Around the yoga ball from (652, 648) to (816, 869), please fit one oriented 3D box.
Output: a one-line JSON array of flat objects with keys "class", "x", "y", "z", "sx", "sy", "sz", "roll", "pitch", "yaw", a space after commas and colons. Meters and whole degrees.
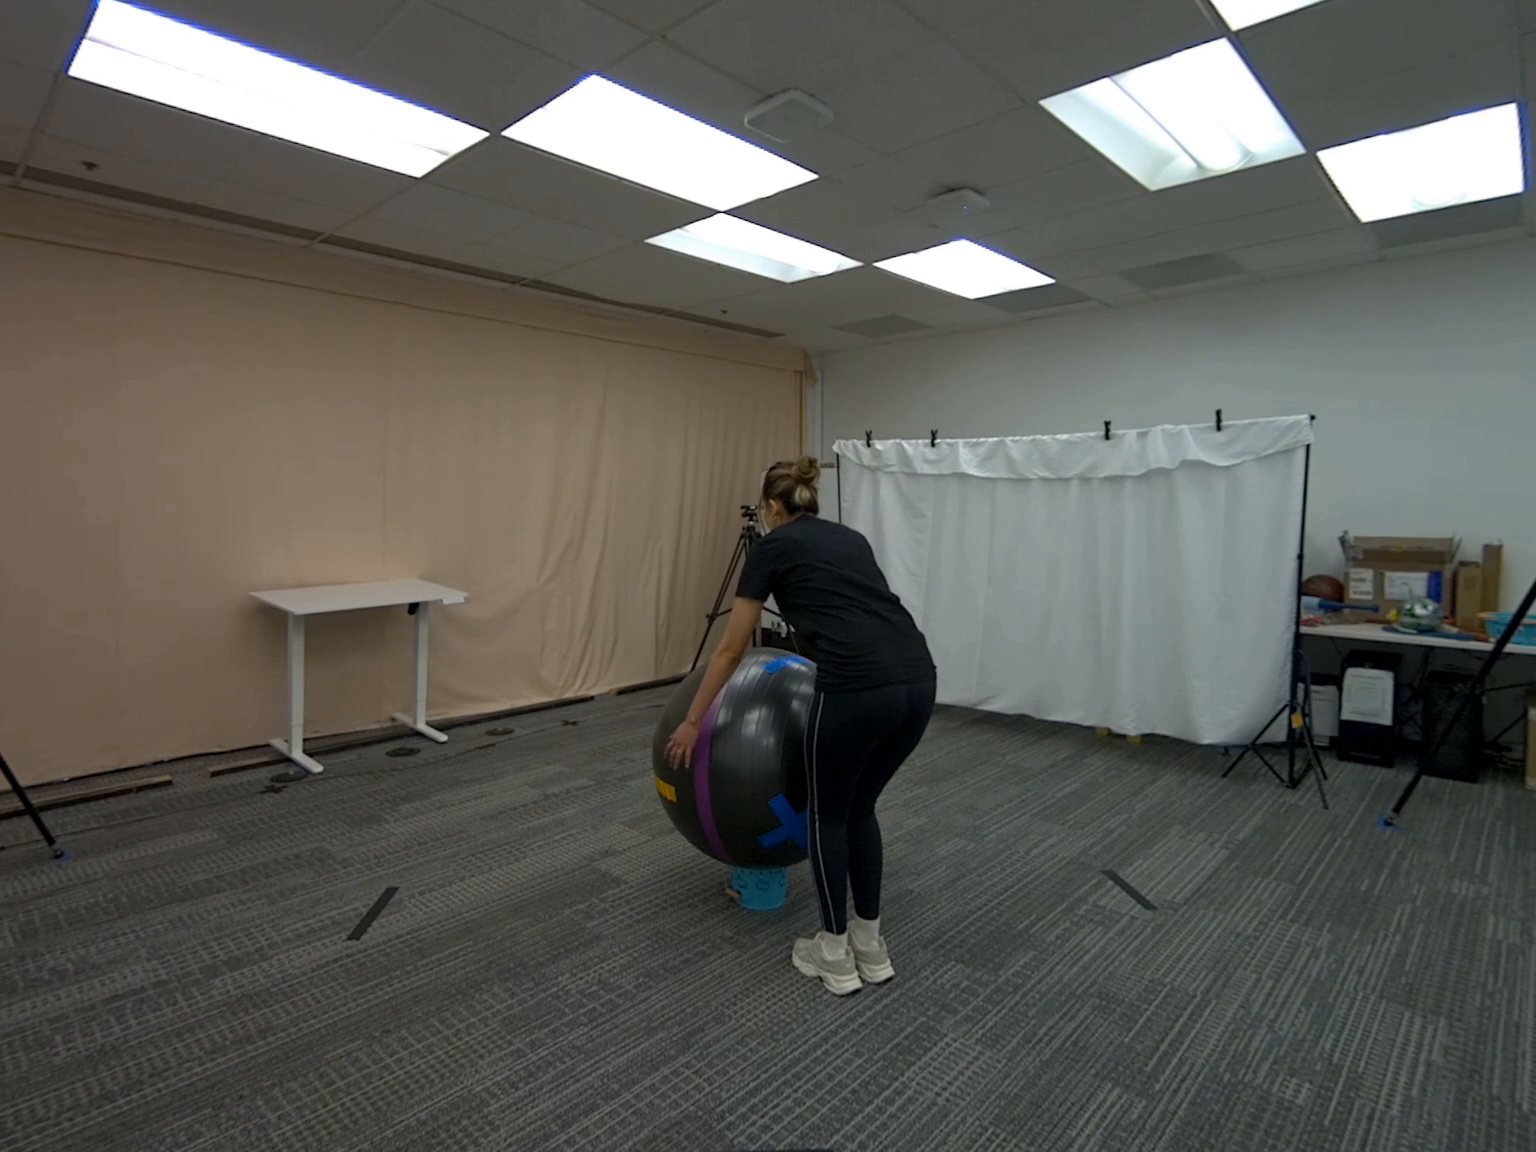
[{"class": "yoga ball", "x": -0.023, "y": 0.628, "z": 2.972, "sx": 0.757, "sy": 0.756, "sz": 0.761, "roll": 0, "pitch": 4, "yaw": -2}]
